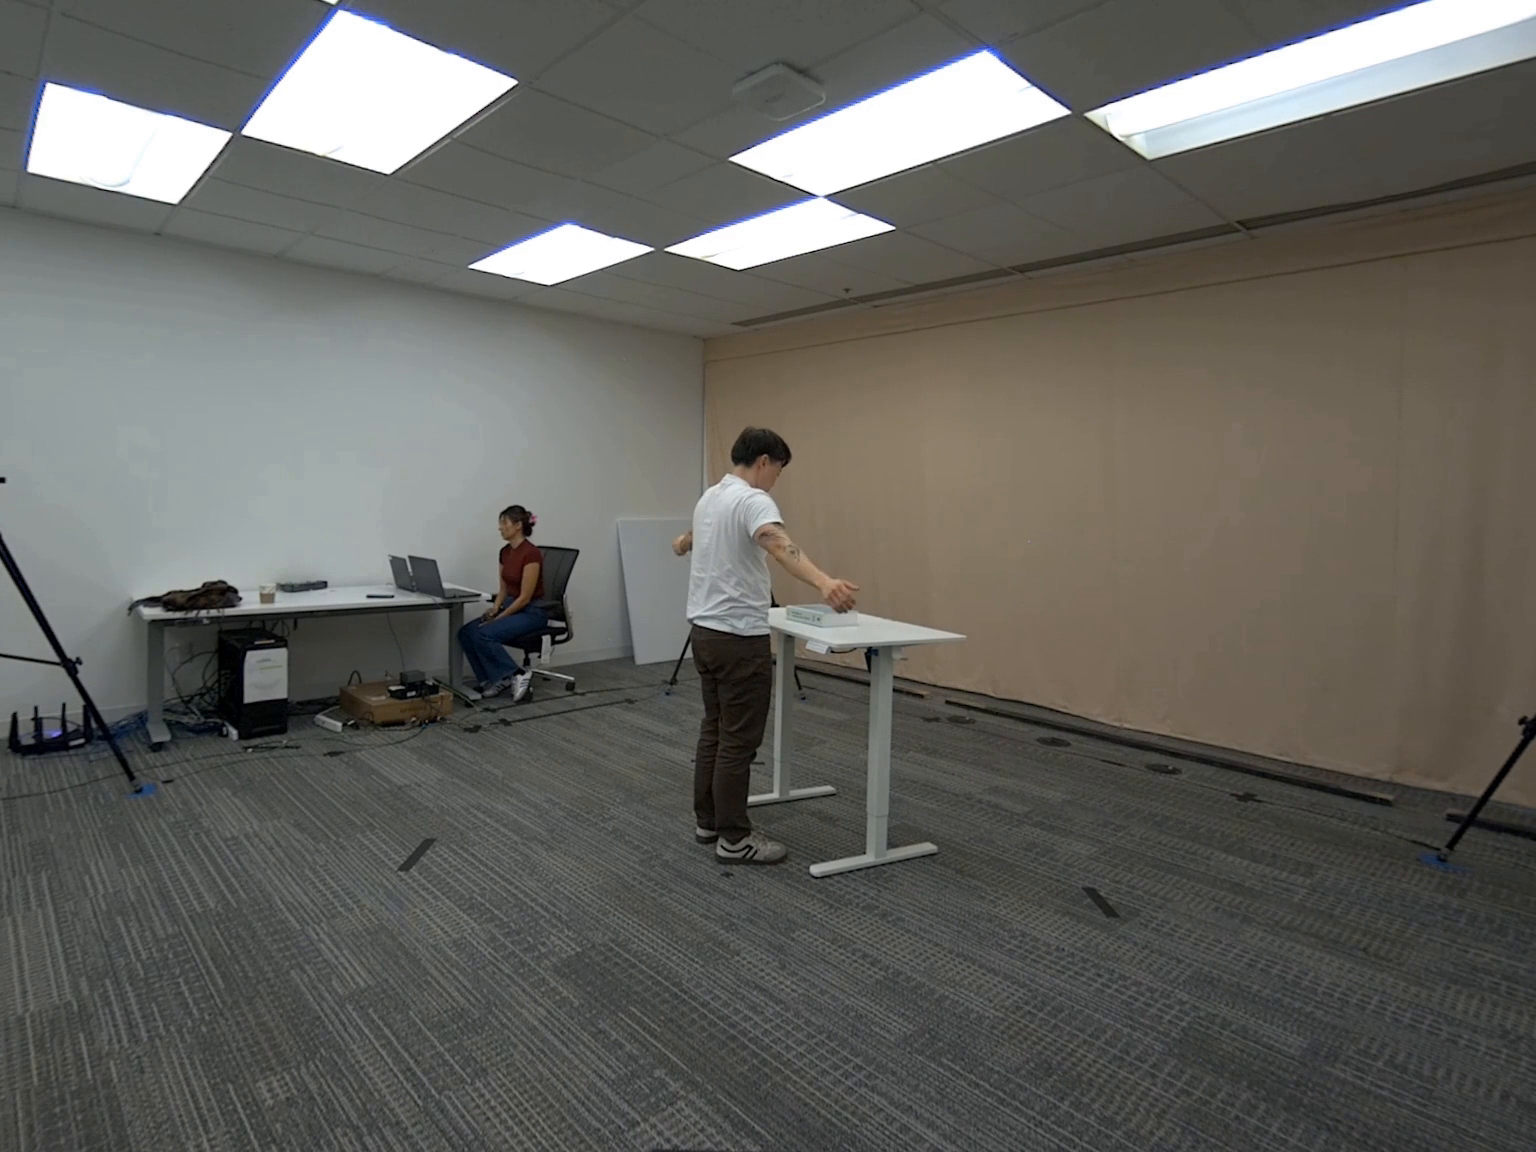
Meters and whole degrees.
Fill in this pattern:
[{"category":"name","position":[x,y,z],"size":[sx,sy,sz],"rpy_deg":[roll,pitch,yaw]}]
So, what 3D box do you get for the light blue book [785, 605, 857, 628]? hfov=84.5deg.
[{"category":"light blue book","position":[0.223,0.166,3.531],"size":[0.187,0.059,0.267],"rpy_deg":[-2,6,-31]}]
